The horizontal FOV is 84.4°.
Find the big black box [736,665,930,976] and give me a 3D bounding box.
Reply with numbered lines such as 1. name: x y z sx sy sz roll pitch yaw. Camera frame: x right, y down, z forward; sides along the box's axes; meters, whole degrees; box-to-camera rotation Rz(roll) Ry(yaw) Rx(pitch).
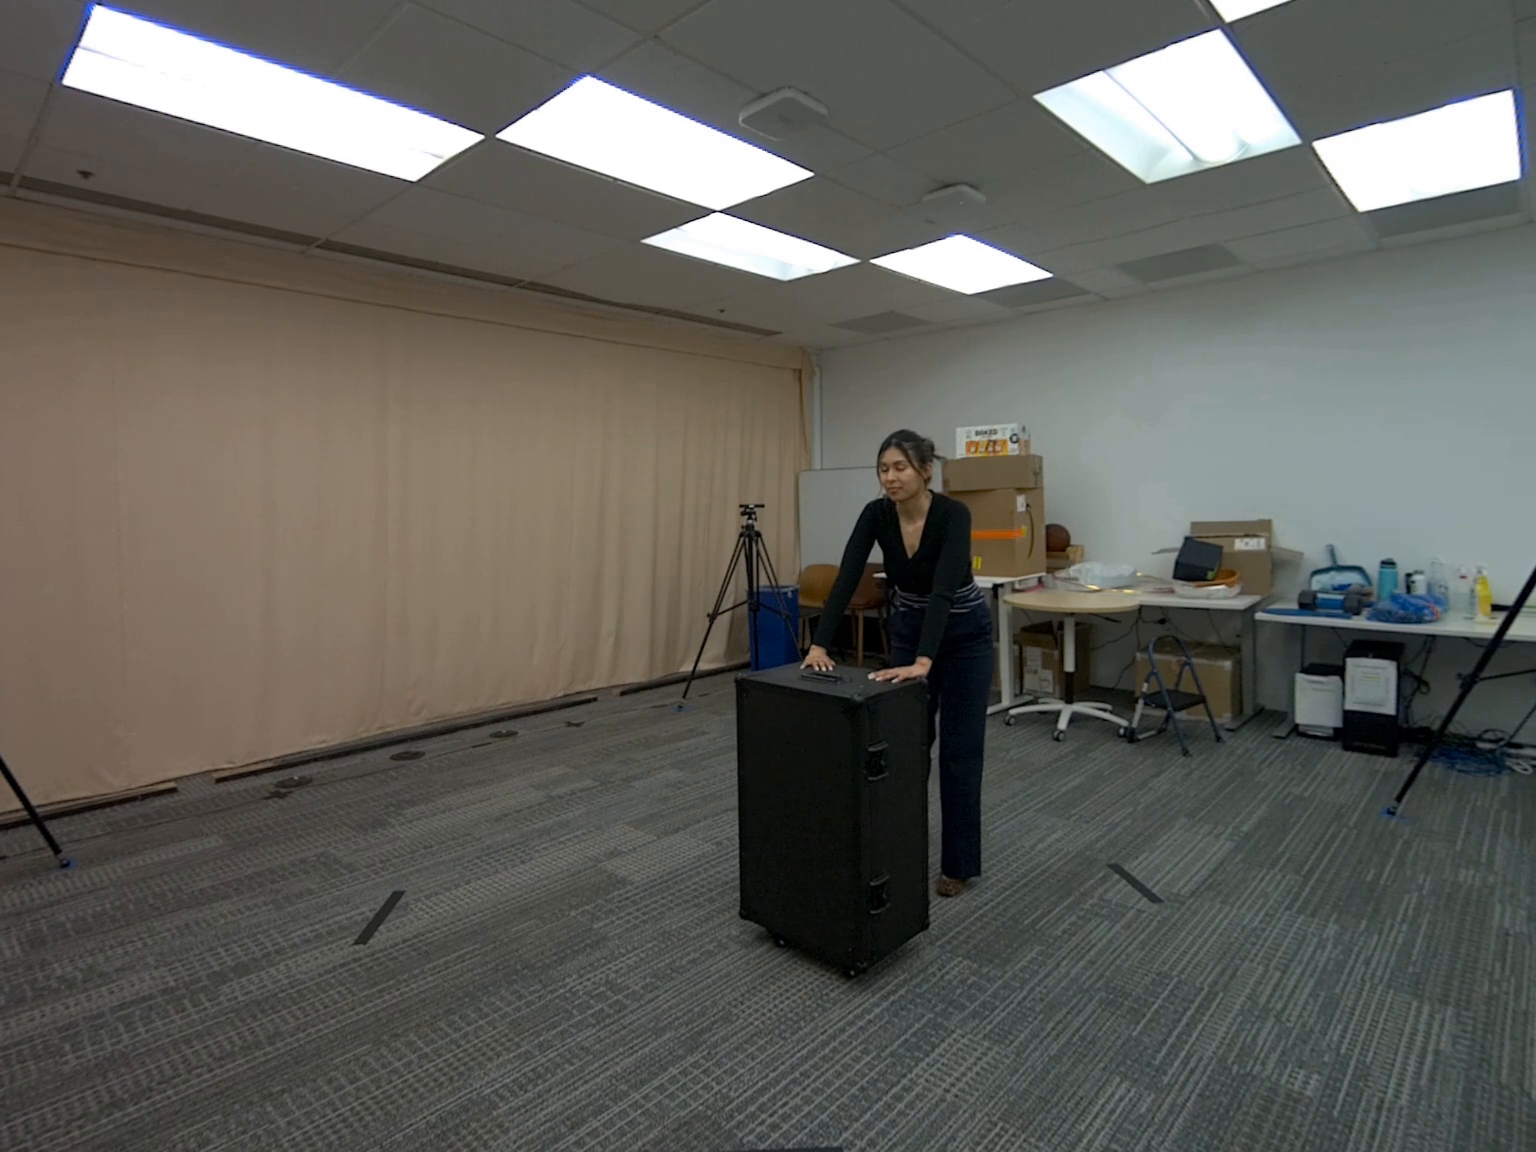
1. big black box: 0.207 0.738 2.647 0.538 0.859 0.384 3 5 44
